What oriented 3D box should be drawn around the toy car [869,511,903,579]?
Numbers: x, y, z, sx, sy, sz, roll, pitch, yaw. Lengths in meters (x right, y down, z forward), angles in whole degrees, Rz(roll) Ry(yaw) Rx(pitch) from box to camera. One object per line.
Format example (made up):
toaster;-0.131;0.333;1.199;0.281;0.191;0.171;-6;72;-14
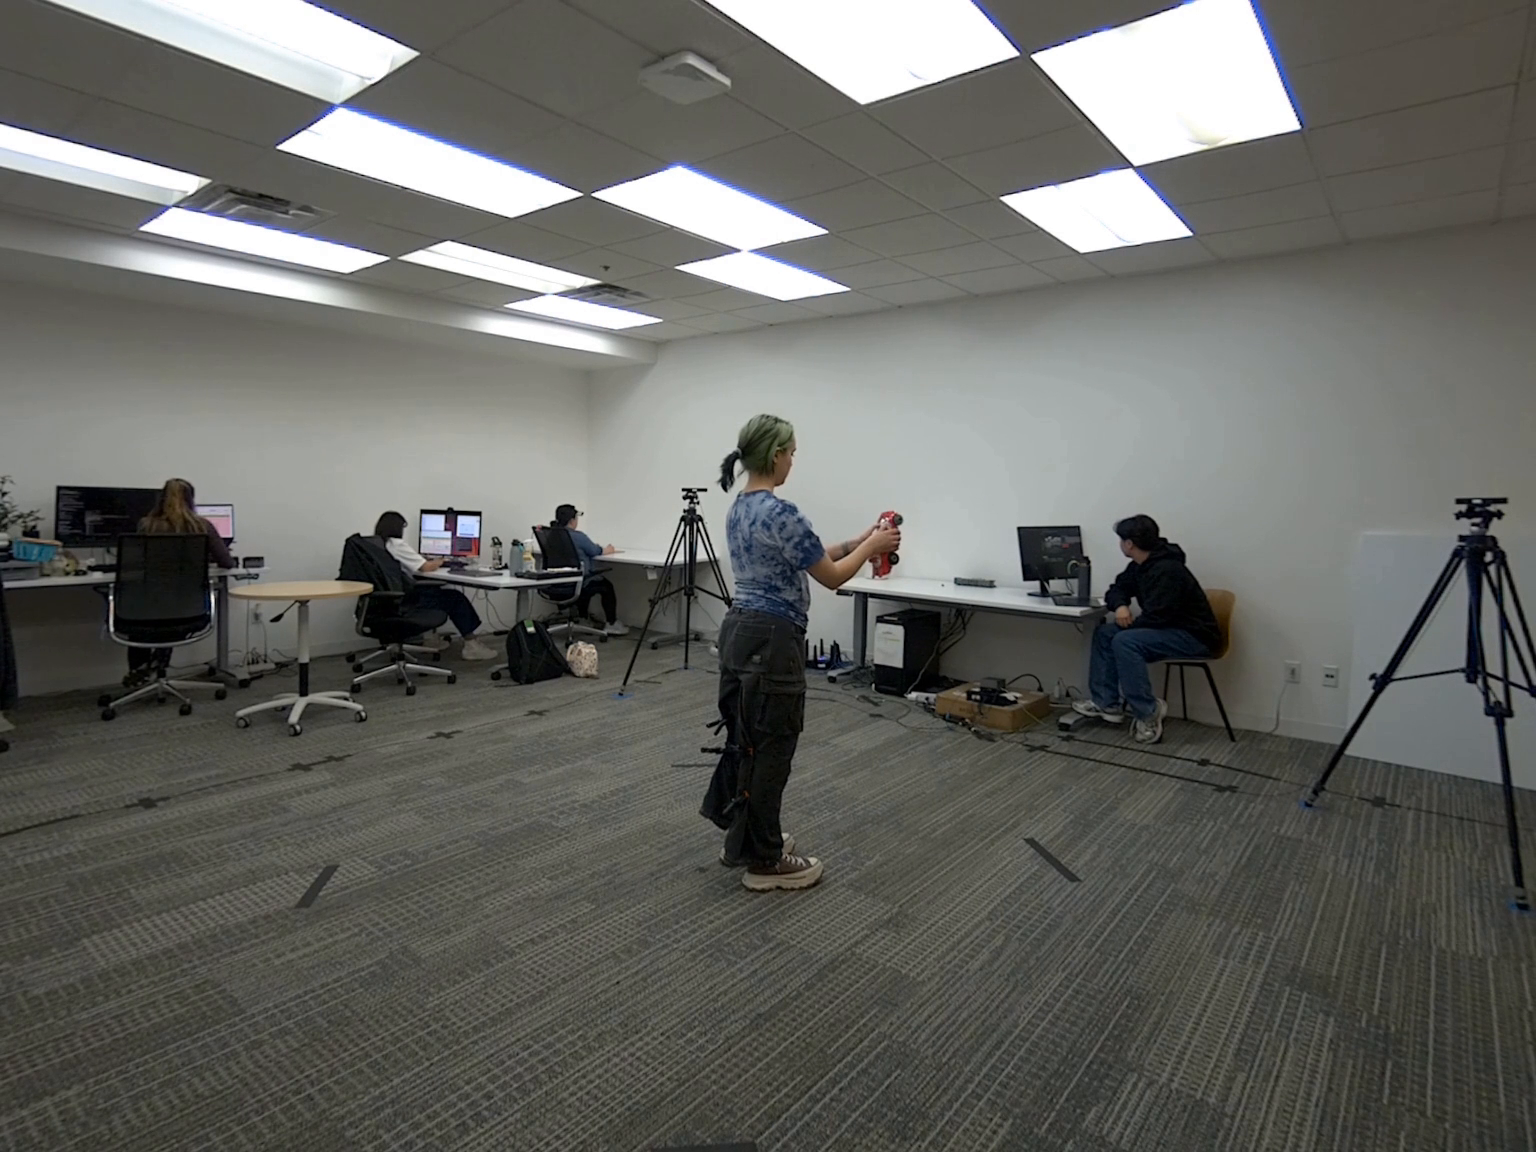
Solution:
toy car;0.432;-0.113;3.158;0.081;0.256;0.132;23;-10;-17
